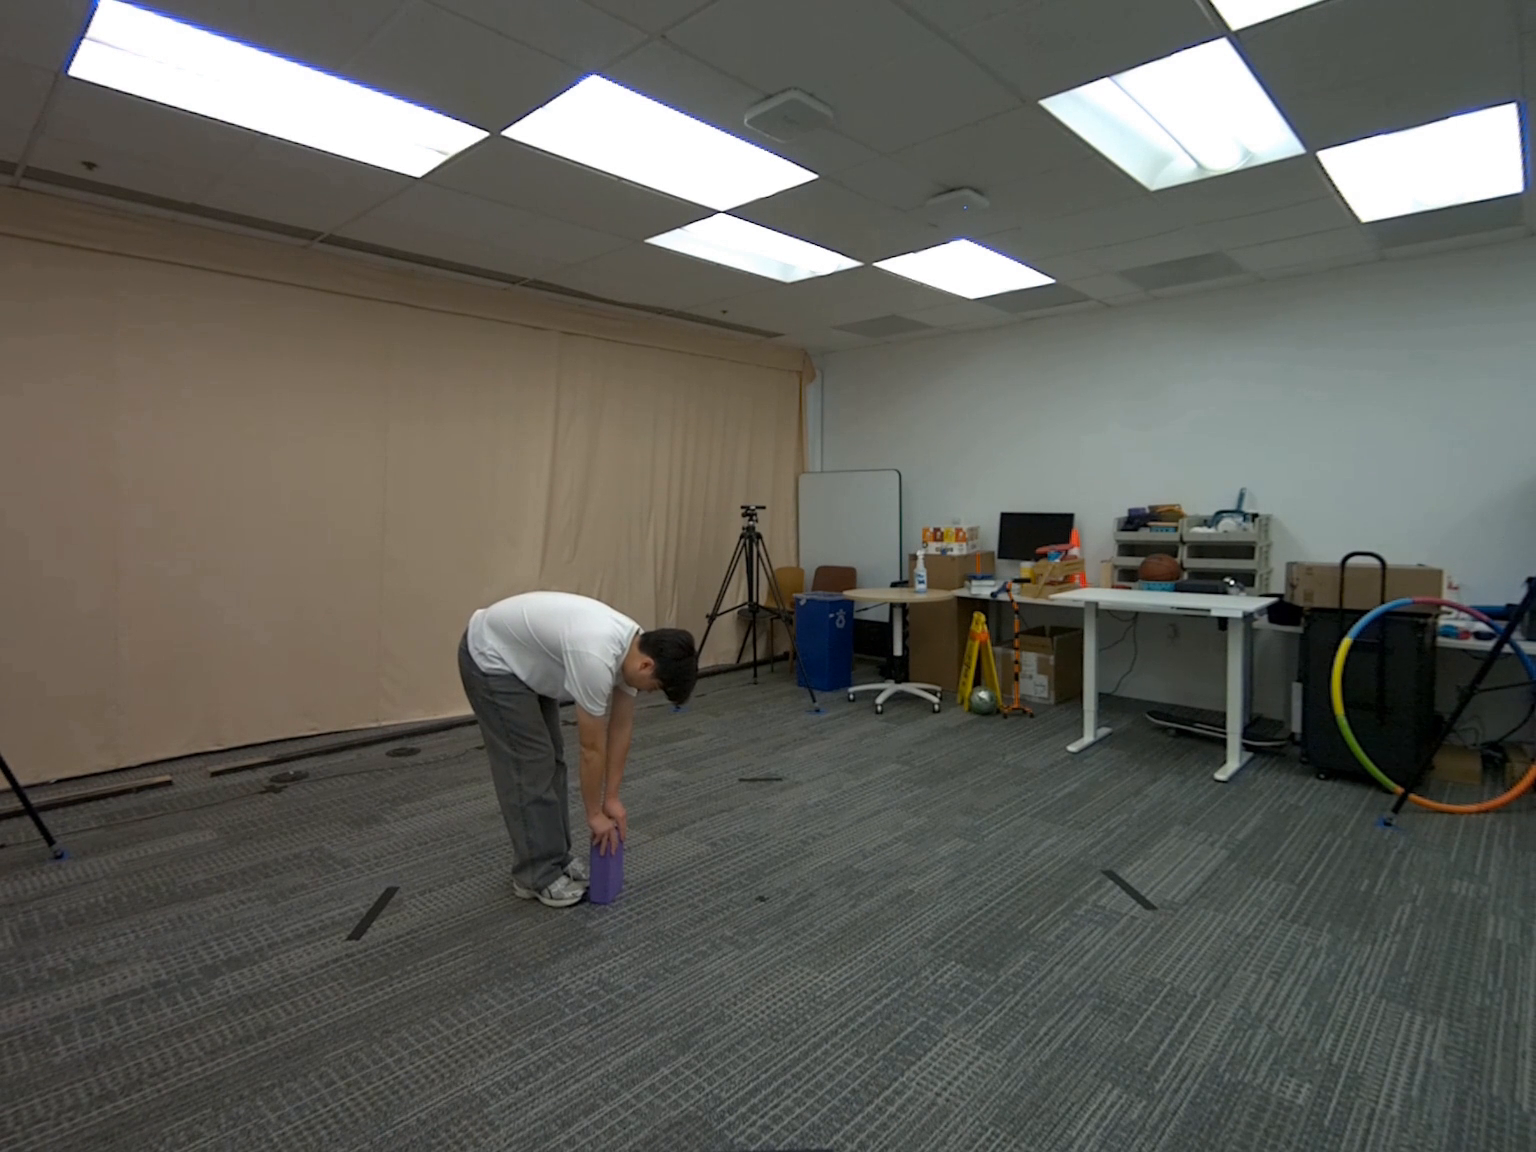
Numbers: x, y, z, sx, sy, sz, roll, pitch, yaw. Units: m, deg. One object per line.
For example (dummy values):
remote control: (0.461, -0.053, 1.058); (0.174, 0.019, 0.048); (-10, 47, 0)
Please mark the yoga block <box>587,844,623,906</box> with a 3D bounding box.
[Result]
yoga block: (-0.570, 1.039, 3.002); (0.077, 0.229, 0.148); (1, 3, 7)
